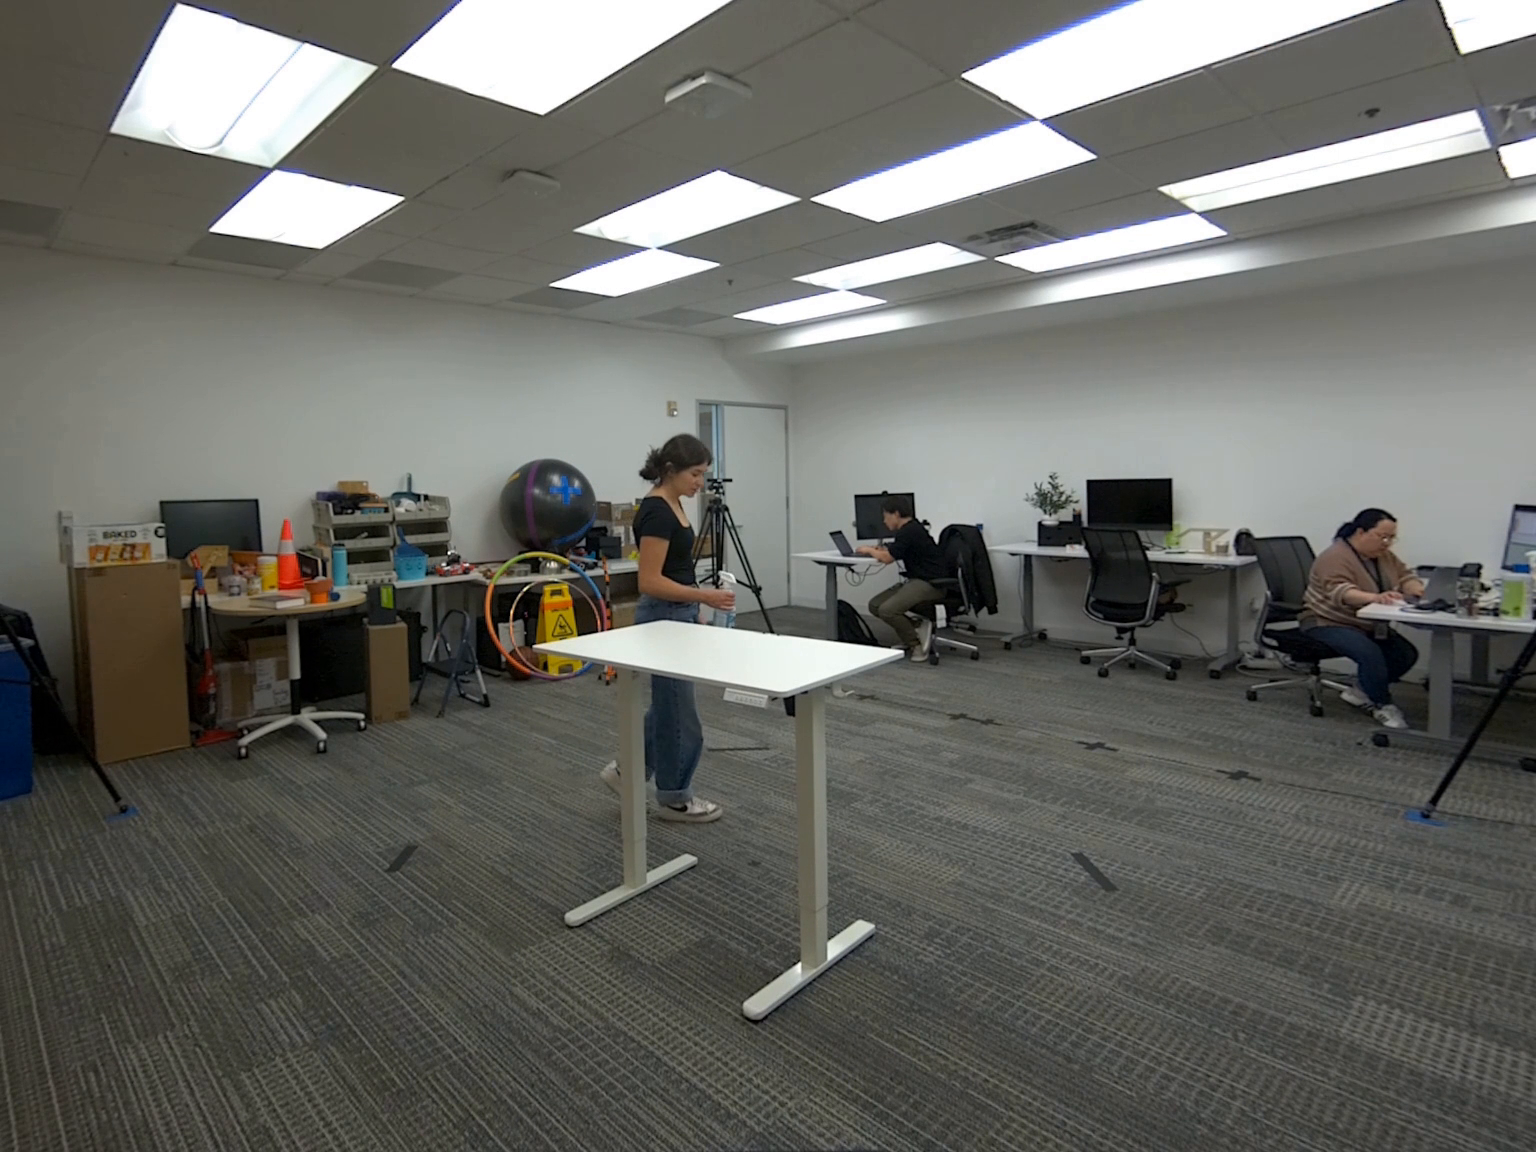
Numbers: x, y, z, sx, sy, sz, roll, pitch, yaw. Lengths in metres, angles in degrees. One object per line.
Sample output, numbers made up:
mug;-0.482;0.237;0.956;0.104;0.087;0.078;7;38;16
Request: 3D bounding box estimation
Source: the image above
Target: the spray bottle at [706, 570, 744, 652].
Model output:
spray bottle;-0.171;0.134;3.340;0.085;0.296;0.092;4;7;-20
